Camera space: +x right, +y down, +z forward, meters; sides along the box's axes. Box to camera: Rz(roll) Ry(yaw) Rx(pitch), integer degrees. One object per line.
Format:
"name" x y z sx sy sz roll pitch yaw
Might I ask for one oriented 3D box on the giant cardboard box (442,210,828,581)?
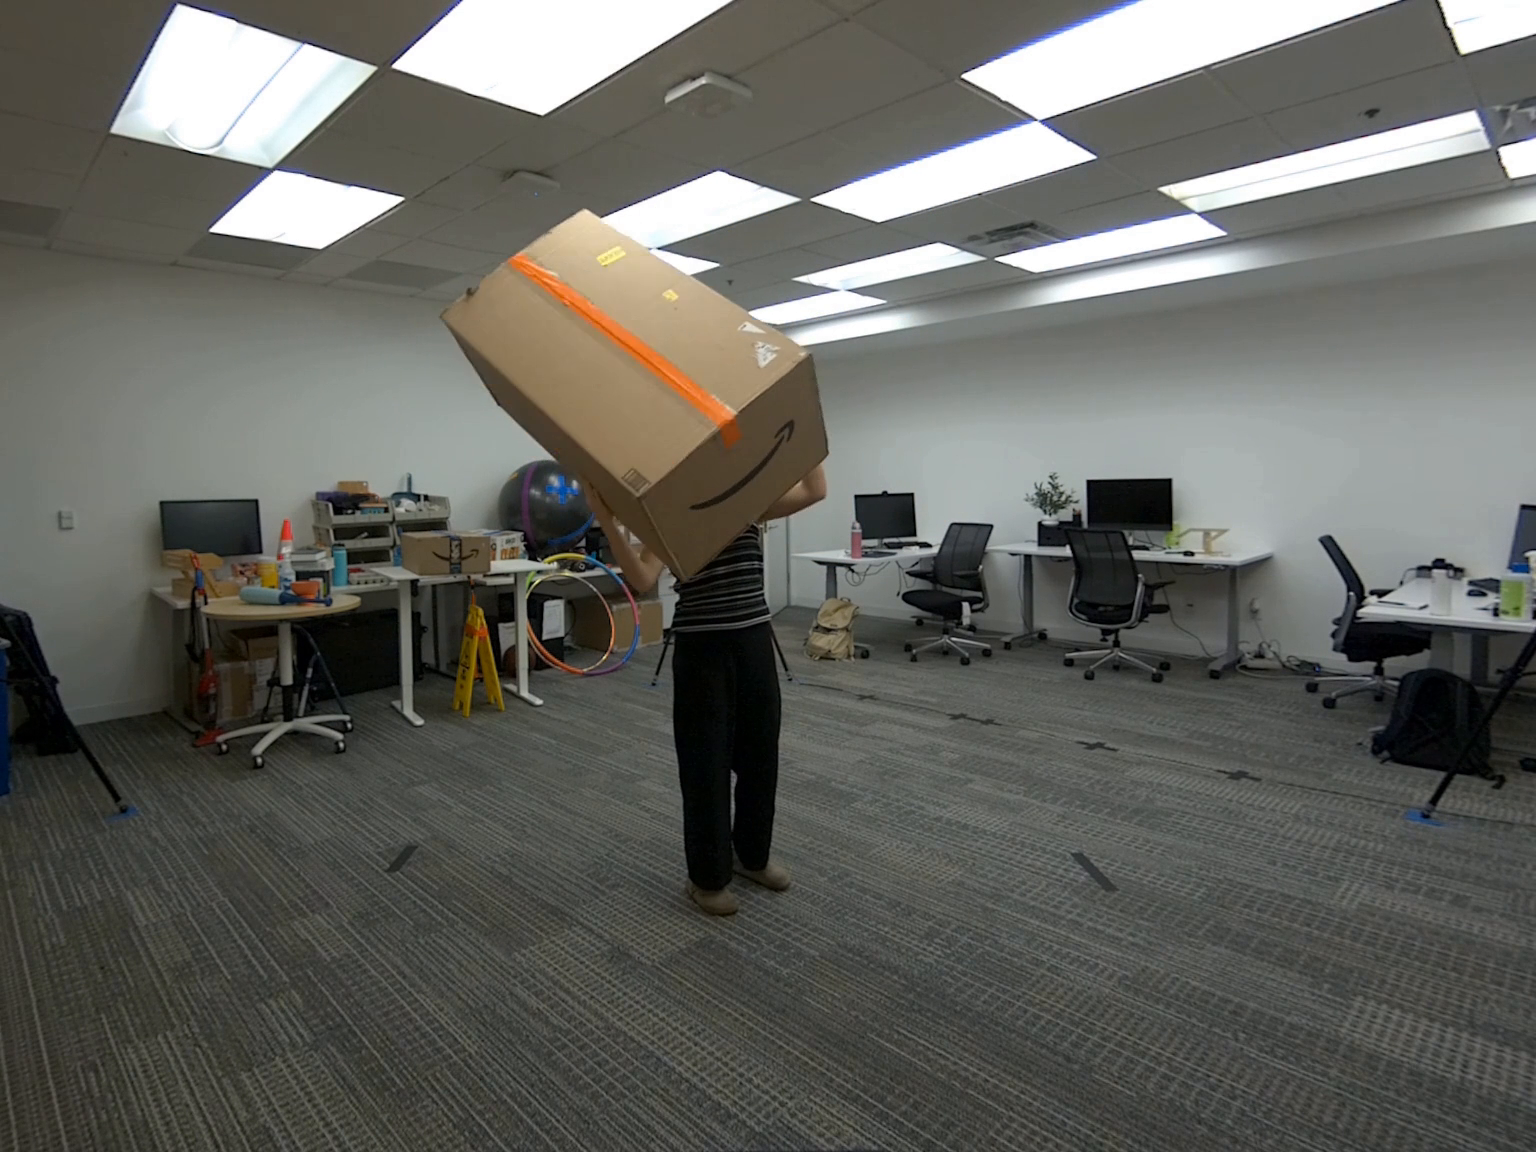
"giant cardboard box" -0.388 -0.568 2.513 1.062 0.576 0.412 41 -15 30
